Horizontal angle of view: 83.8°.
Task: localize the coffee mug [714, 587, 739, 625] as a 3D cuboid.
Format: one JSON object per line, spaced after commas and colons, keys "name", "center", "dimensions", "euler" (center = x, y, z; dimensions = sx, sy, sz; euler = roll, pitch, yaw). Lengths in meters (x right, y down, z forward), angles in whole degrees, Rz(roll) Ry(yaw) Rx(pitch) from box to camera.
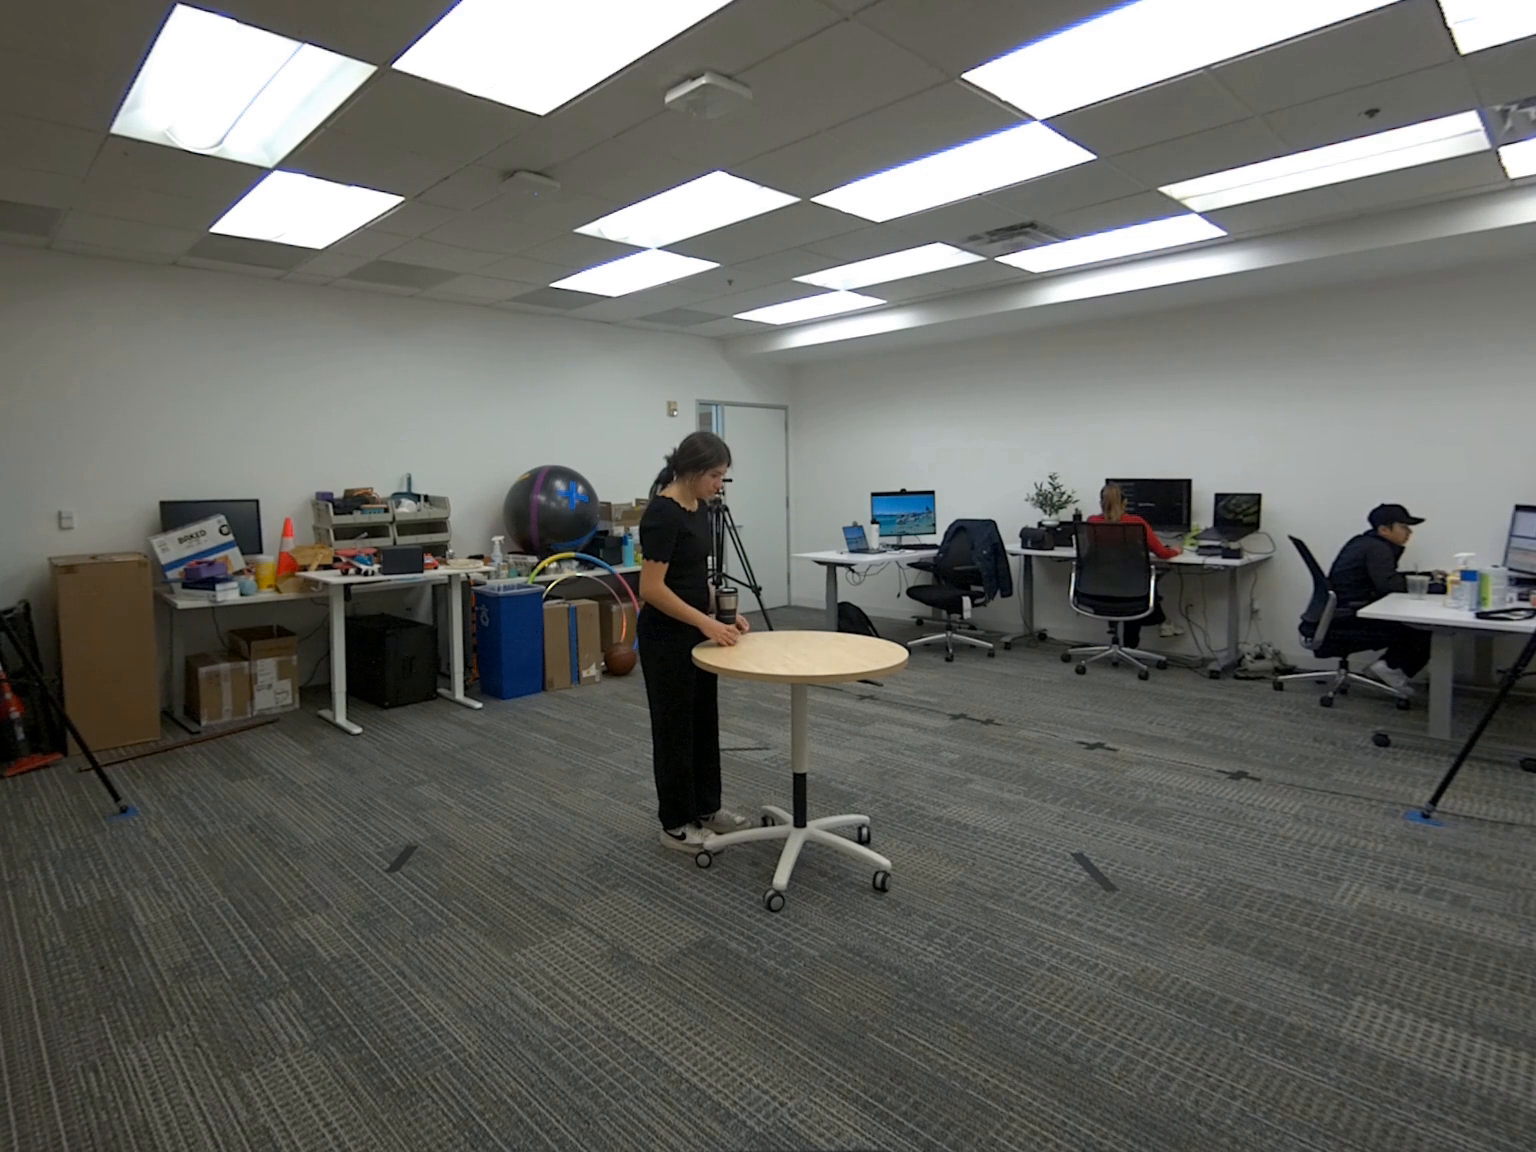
{"name": "coffee mug", "center": [-0.140, 0.145, 3.208], "dimensions": [0.090, 0.202, 0.119], "euler": [0, 8, 43]}
